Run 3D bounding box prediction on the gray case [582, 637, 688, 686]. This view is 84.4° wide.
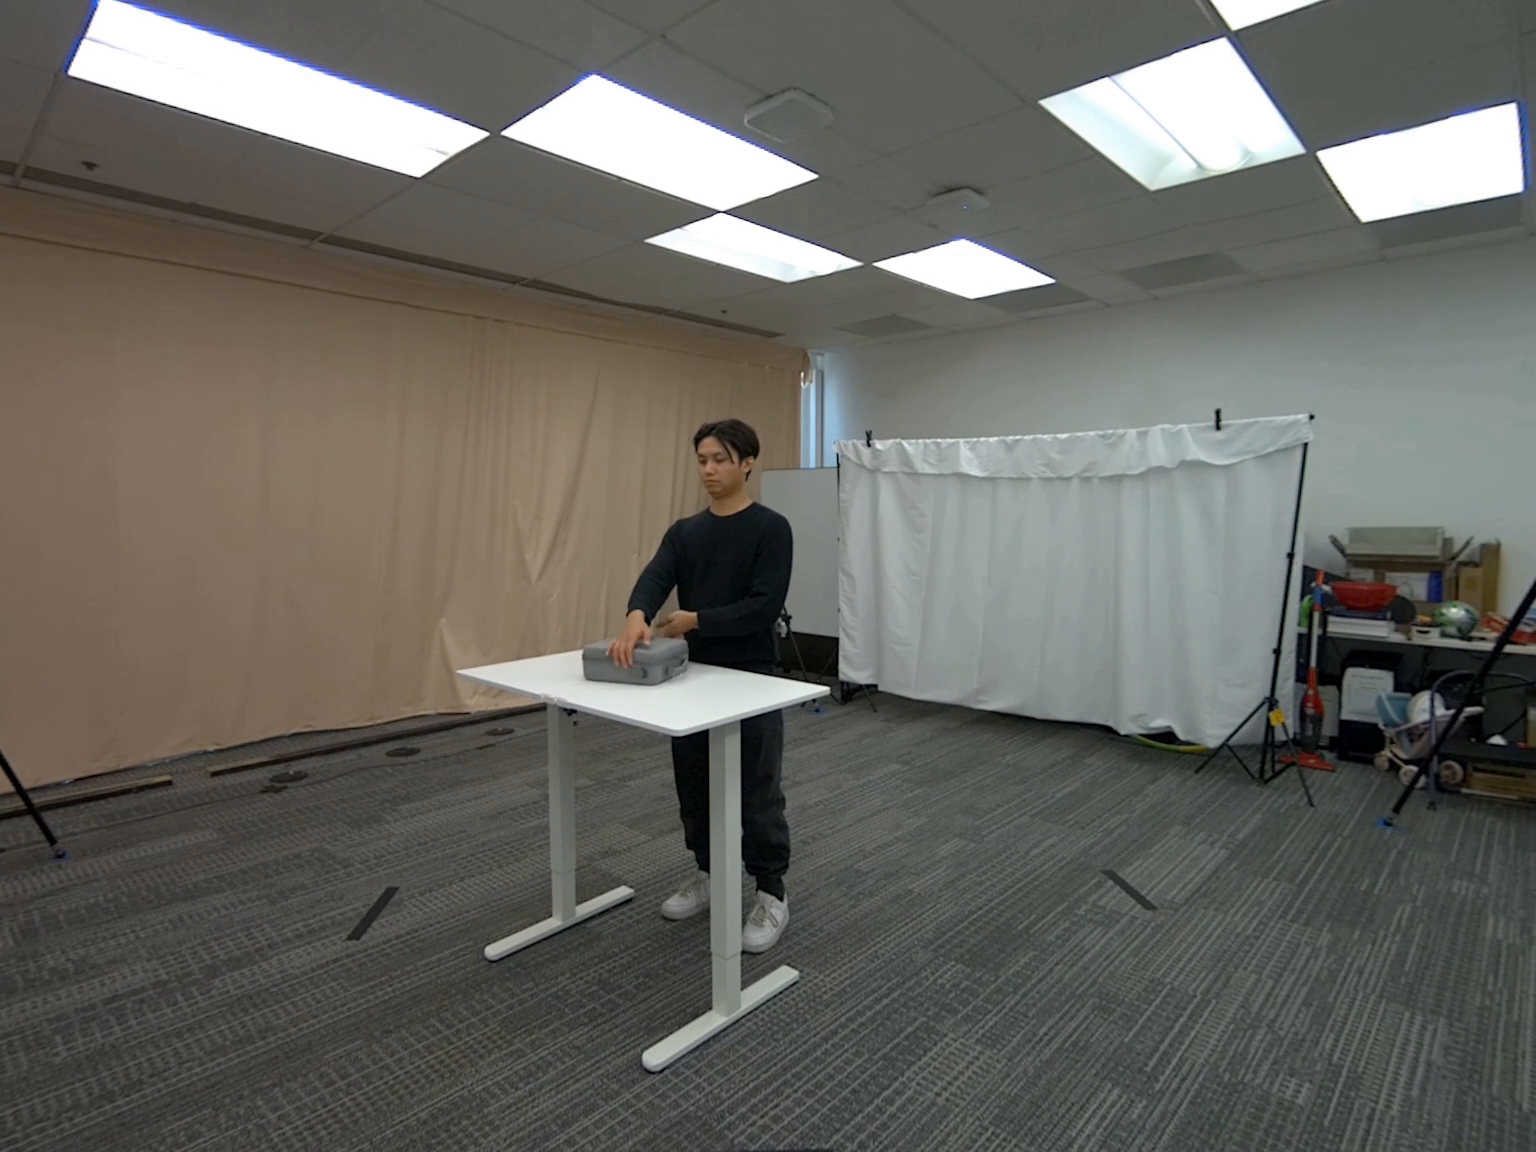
[{"bbox_3d":[-0.390,0.248,2.532,0.266,0.104,0.252,2,5,19],"label":"gray case"}]
